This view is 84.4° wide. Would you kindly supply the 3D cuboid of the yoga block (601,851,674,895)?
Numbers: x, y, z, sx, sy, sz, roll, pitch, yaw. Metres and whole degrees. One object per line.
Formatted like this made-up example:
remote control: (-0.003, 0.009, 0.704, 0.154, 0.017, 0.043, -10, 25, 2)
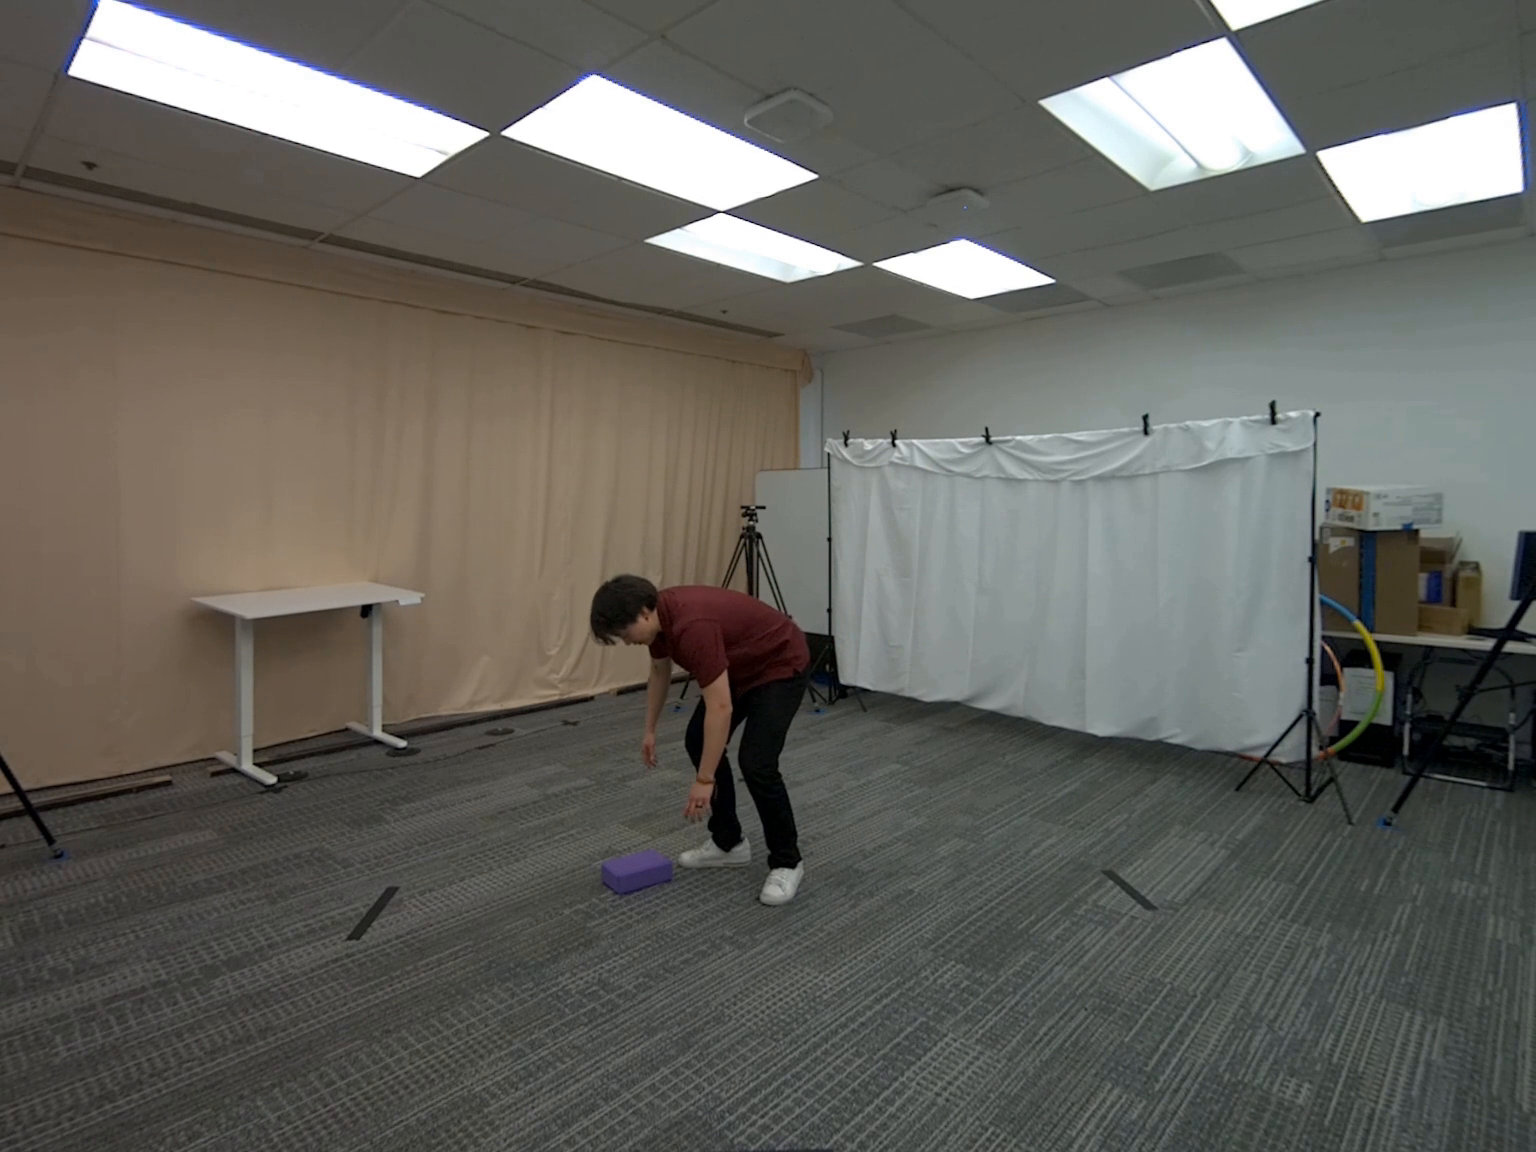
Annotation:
yoga block: (-0.486, 1.099, 3.133, 0.223, 0.076, 0.153, -4, 5, -34)
